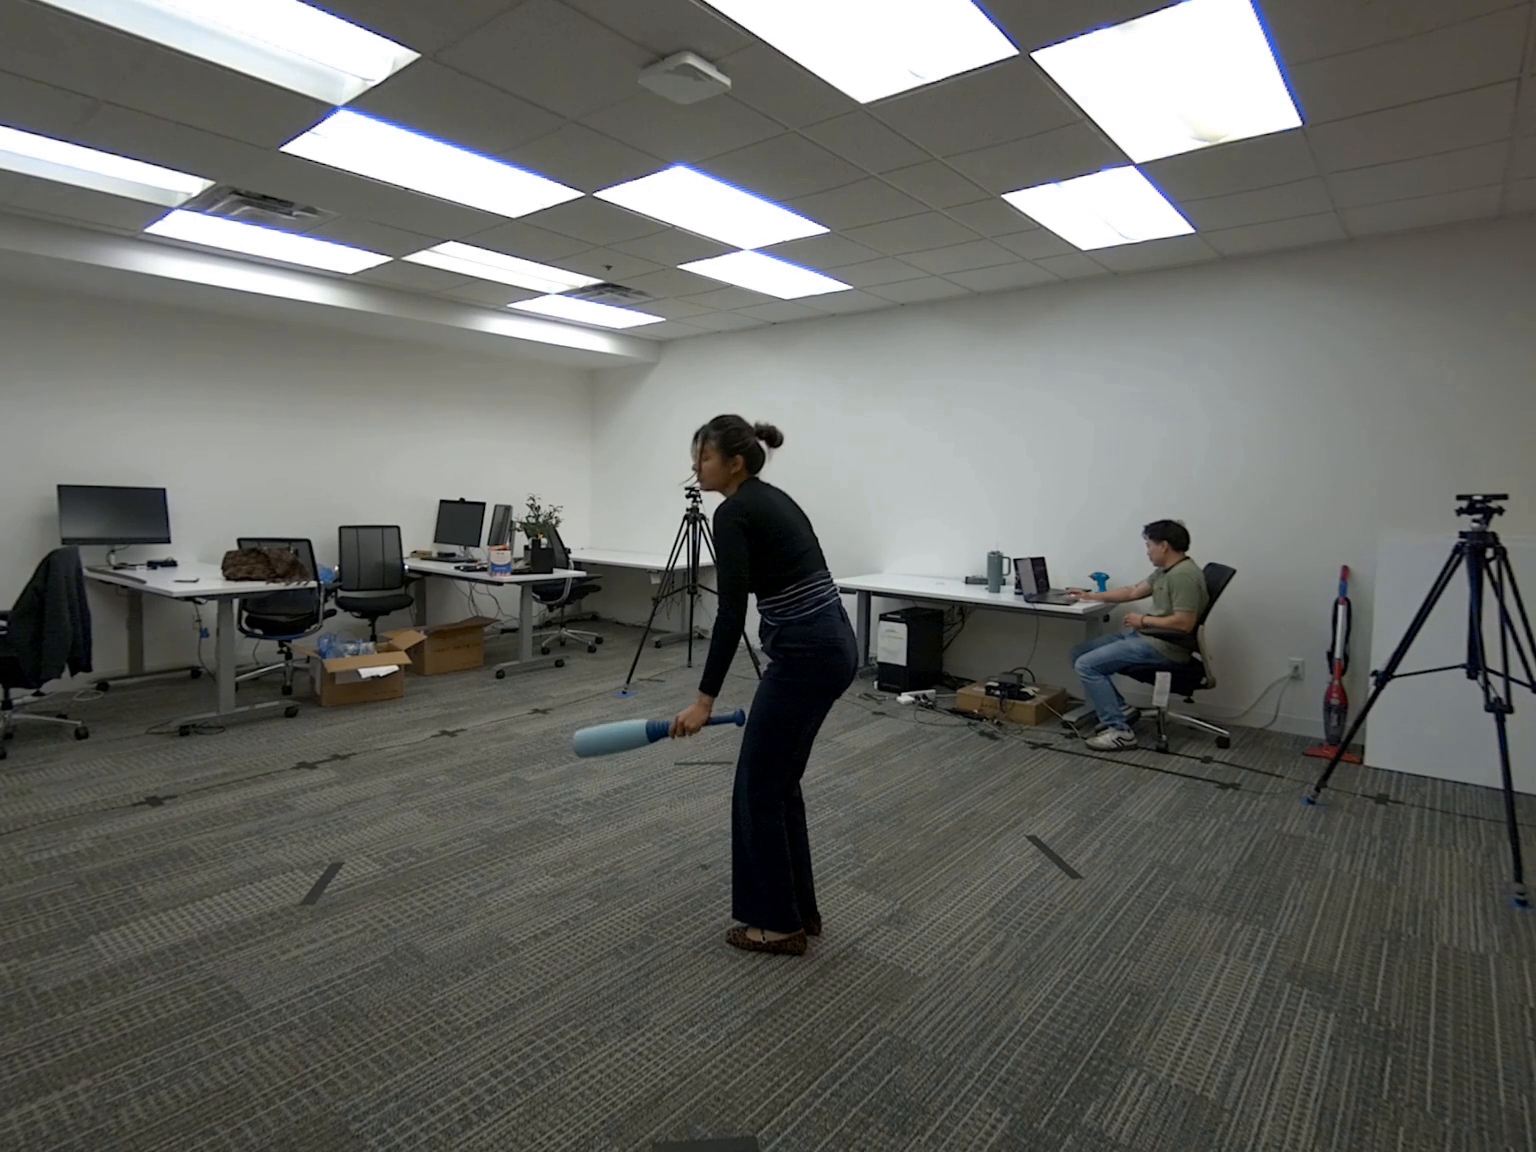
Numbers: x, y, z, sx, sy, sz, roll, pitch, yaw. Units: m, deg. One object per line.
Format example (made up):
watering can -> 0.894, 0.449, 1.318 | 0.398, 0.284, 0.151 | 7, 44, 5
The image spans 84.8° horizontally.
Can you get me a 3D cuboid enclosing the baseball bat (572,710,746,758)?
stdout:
baseball bat -> -0.335, 0.467, 2.469 | 0.551, 0.089, 0.087 | -11, 0, 18
